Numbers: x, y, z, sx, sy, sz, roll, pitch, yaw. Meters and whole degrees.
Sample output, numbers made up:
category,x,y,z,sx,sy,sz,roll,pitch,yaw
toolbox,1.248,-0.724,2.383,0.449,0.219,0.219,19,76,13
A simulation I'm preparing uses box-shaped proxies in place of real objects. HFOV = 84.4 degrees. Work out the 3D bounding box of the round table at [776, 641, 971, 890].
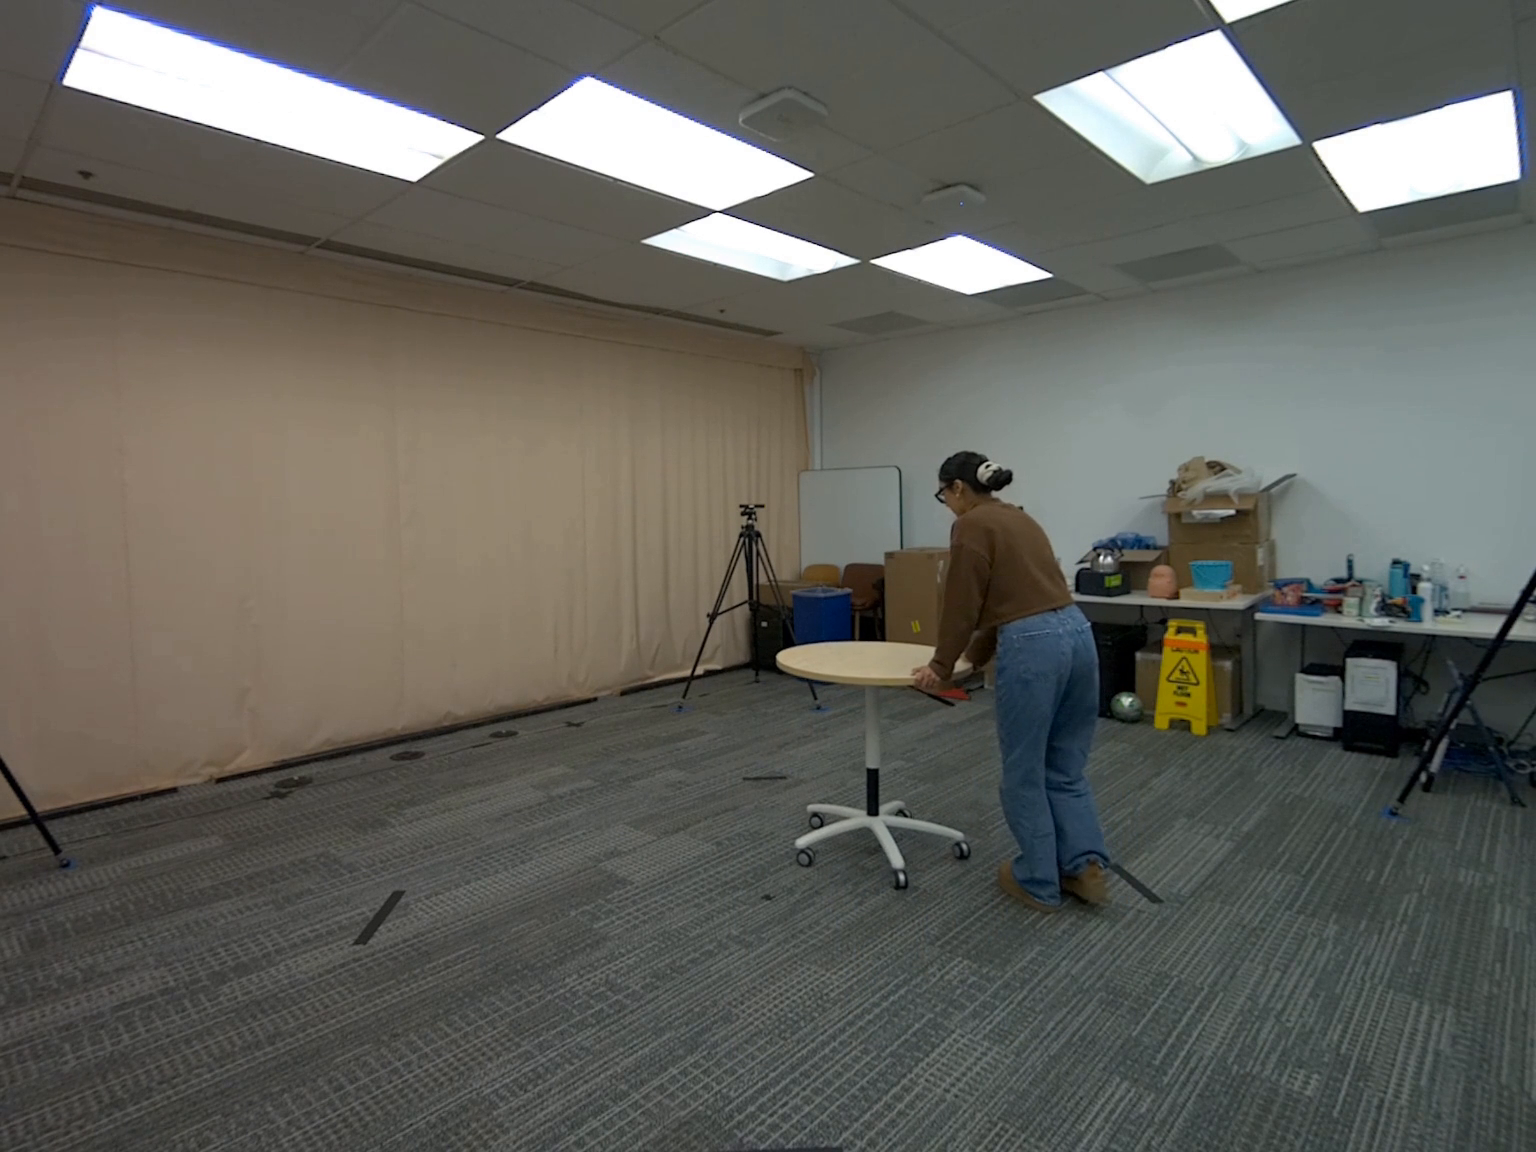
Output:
category,x,y,z,sx,sy,sz,roll,pitch,yaw
round table,0.429,0.715,3.367,0.763,0.792,0.766,0,4,-2
